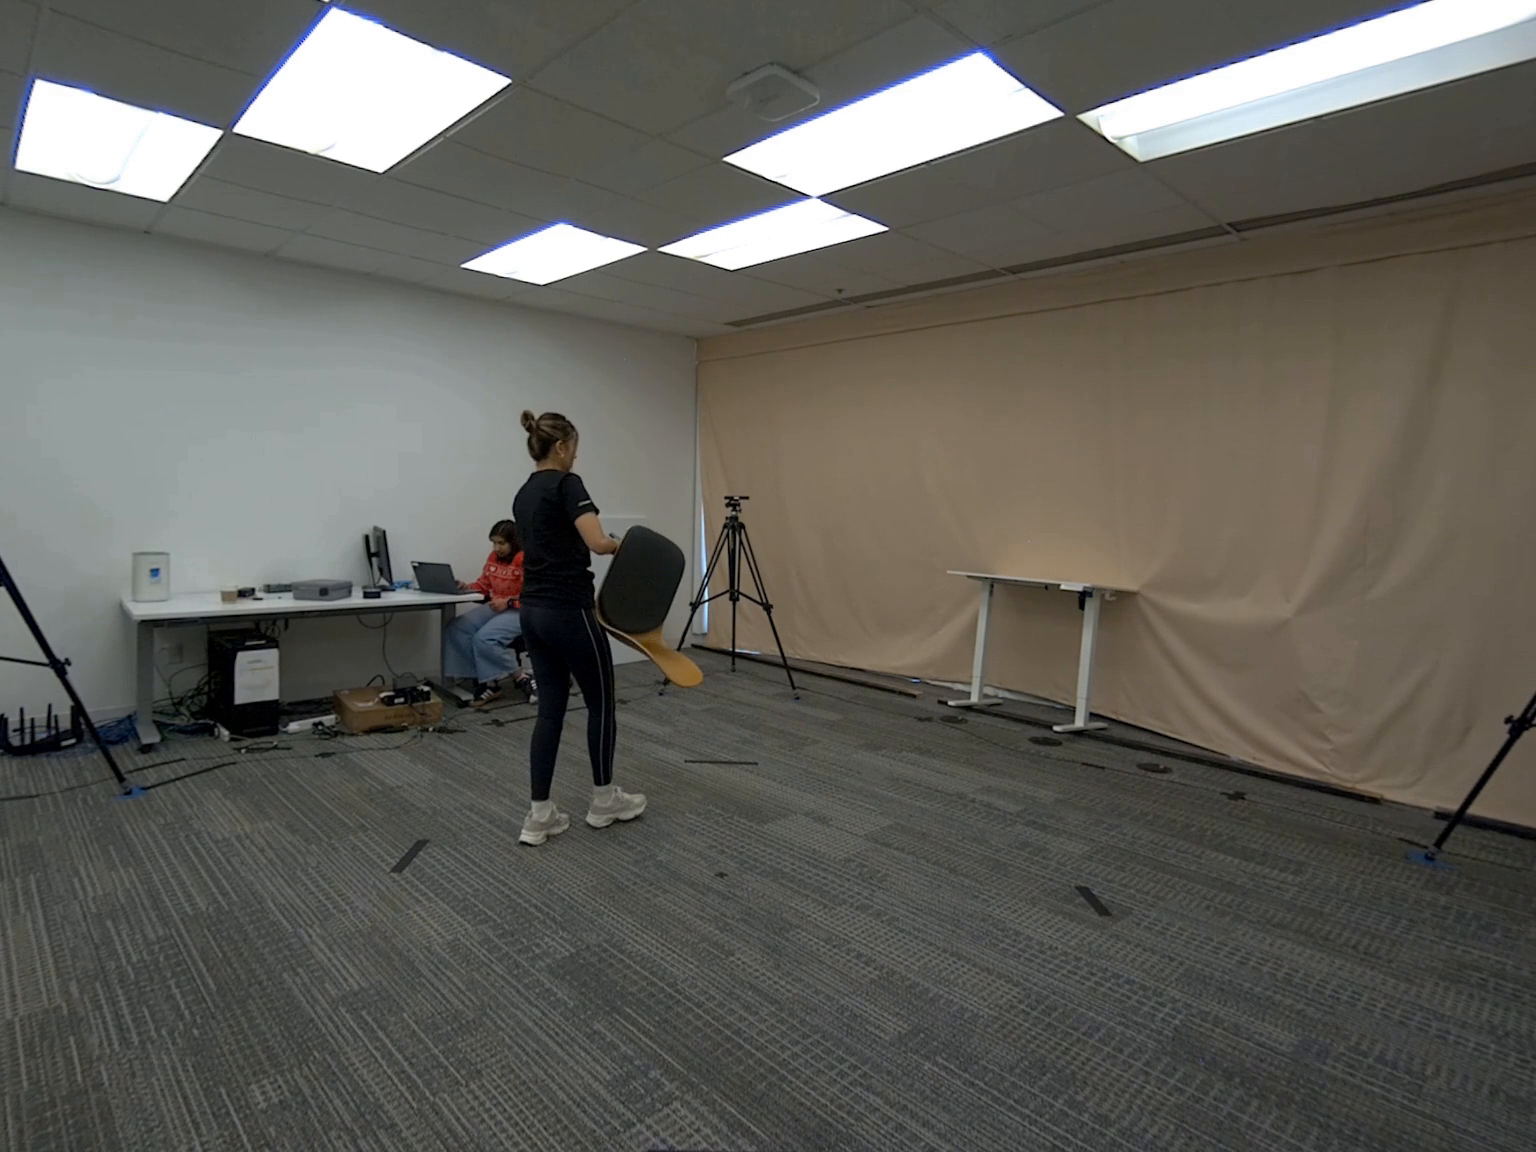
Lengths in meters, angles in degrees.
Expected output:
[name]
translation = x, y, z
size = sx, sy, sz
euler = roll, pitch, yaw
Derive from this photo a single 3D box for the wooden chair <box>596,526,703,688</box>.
[wooden chair]
translation = -0.587, 0.061, 3.582
size = 0.902, 0.524, 0.464
euler = 23, -5, 34
